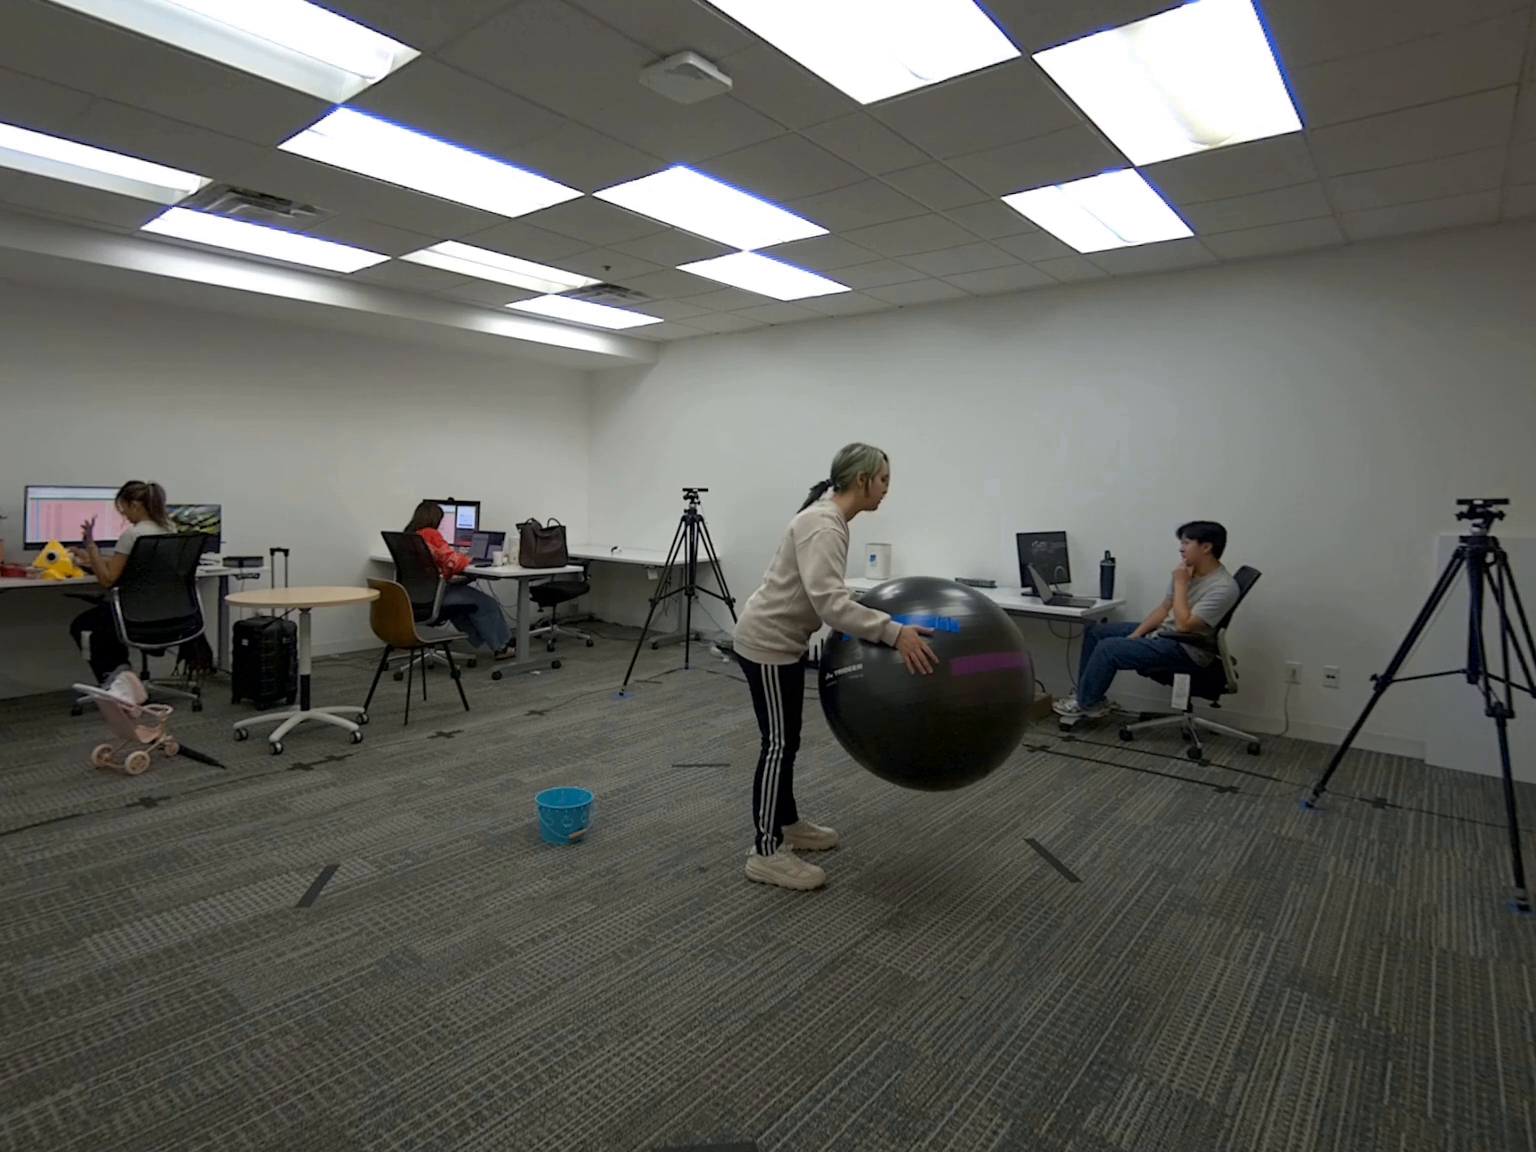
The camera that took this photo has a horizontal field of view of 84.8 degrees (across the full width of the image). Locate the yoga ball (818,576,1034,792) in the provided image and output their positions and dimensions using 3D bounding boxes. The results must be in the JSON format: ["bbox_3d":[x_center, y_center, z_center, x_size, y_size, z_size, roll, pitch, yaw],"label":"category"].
[{"bbox_3d":[0.554,0.393,3.075,0.757,0.755,0.762,1,4,-2],"label":"yoga ball"}]
